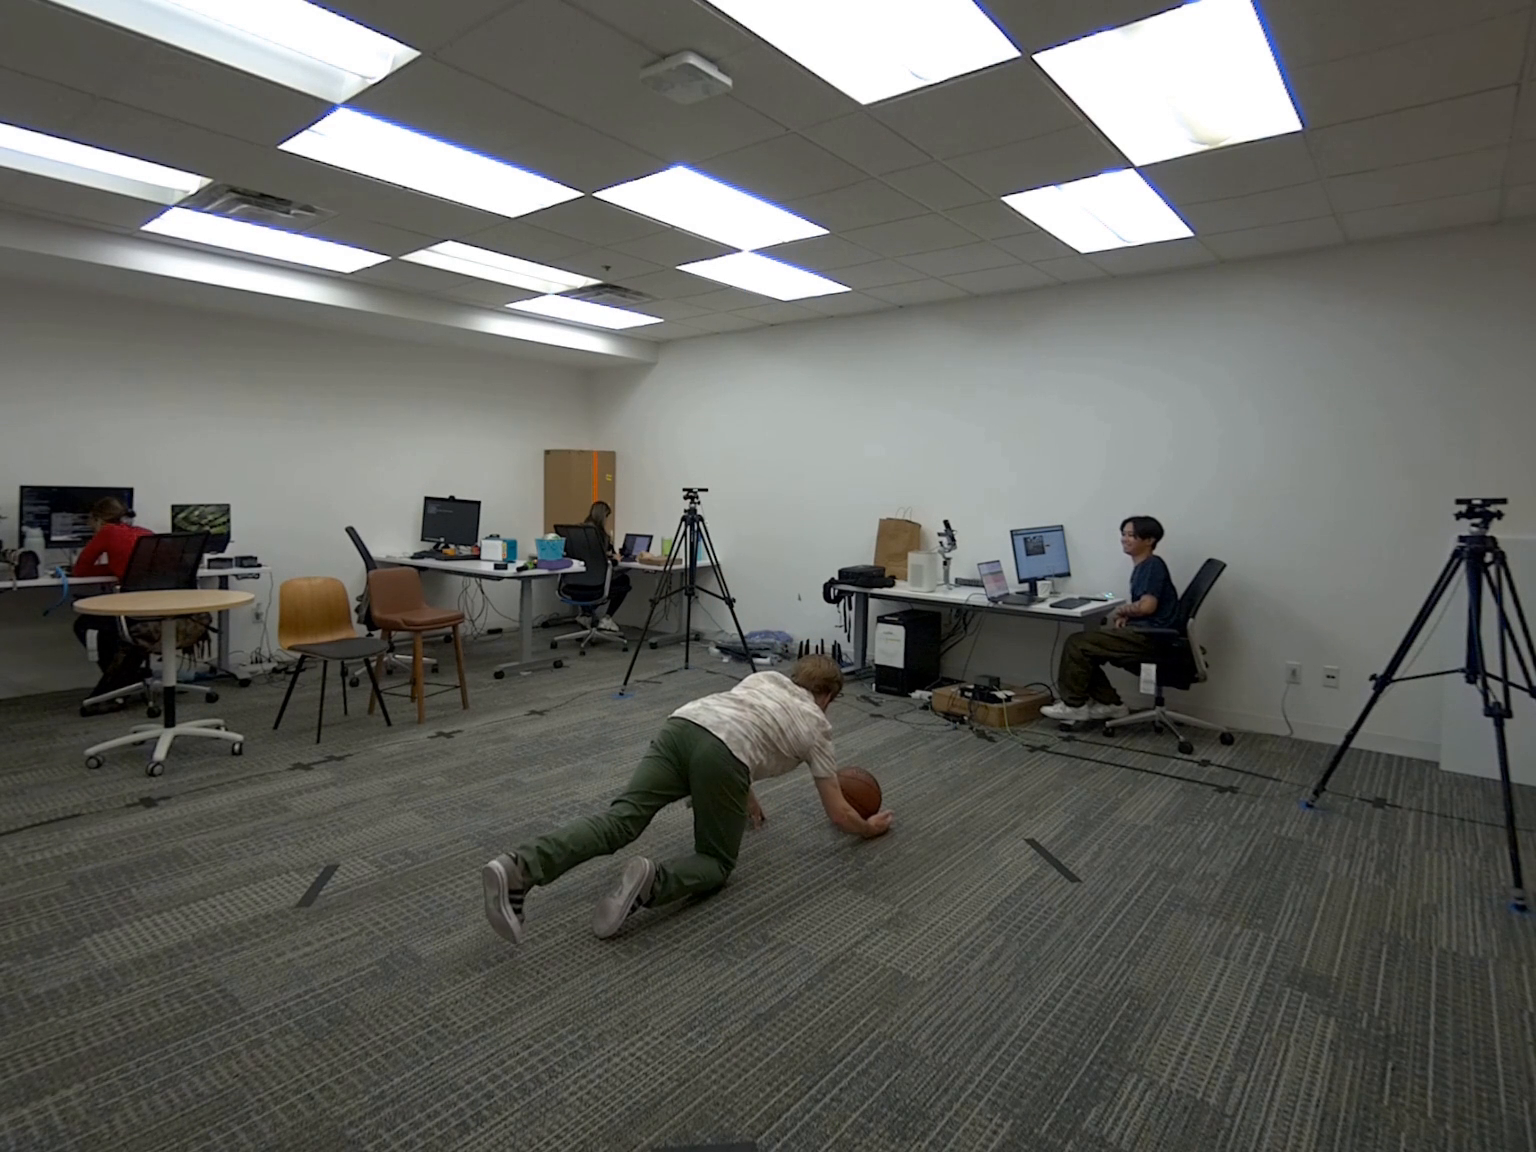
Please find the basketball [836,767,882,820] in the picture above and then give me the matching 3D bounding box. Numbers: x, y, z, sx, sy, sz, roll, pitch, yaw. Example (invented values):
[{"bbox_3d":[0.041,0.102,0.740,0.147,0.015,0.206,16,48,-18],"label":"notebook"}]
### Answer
[{"bbox_3d":[0.354,0.911,3.563,0.235,0.235,0.237,1,4,-2],"label":"basketball"}]
